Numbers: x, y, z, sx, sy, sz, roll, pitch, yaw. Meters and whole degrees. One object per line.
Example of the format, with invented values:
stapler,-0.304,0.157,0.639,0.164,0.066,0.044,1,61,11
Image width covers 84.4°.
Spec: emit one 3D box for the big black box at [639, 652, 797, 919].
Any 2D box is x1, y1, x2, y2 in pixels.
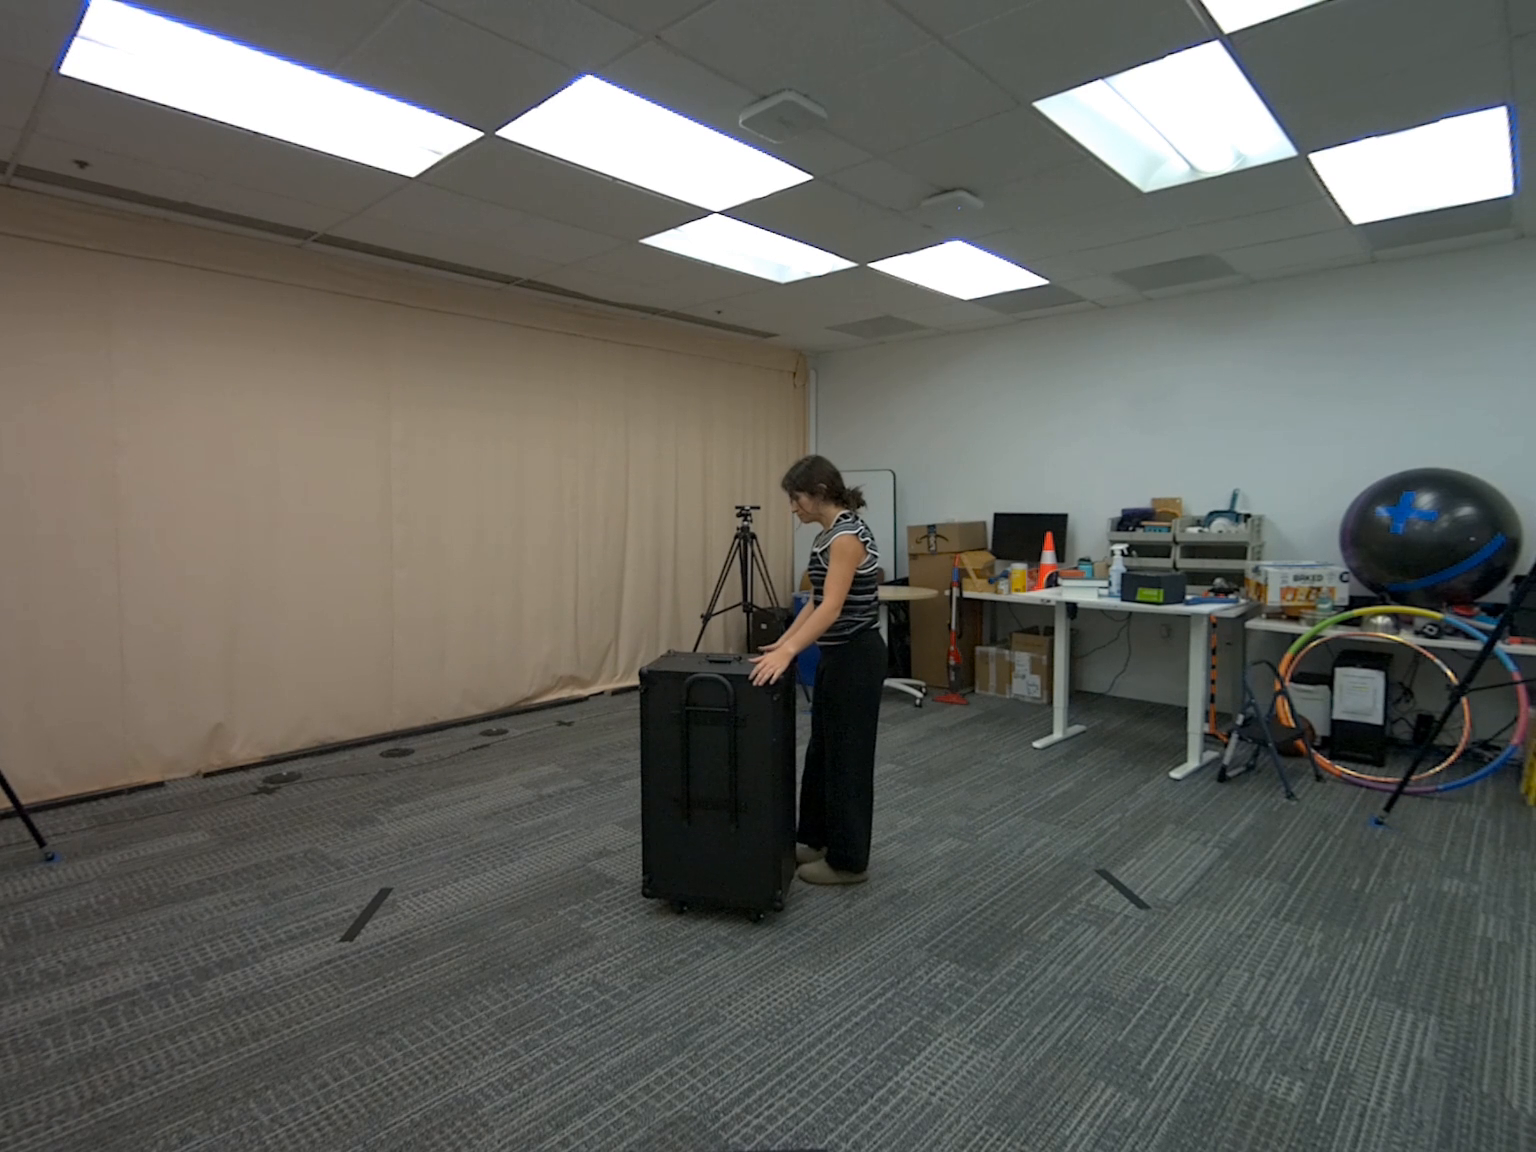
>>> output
big black box,-0.164,0.725,2.923,0.528,0.859,0.392,0,3,11
